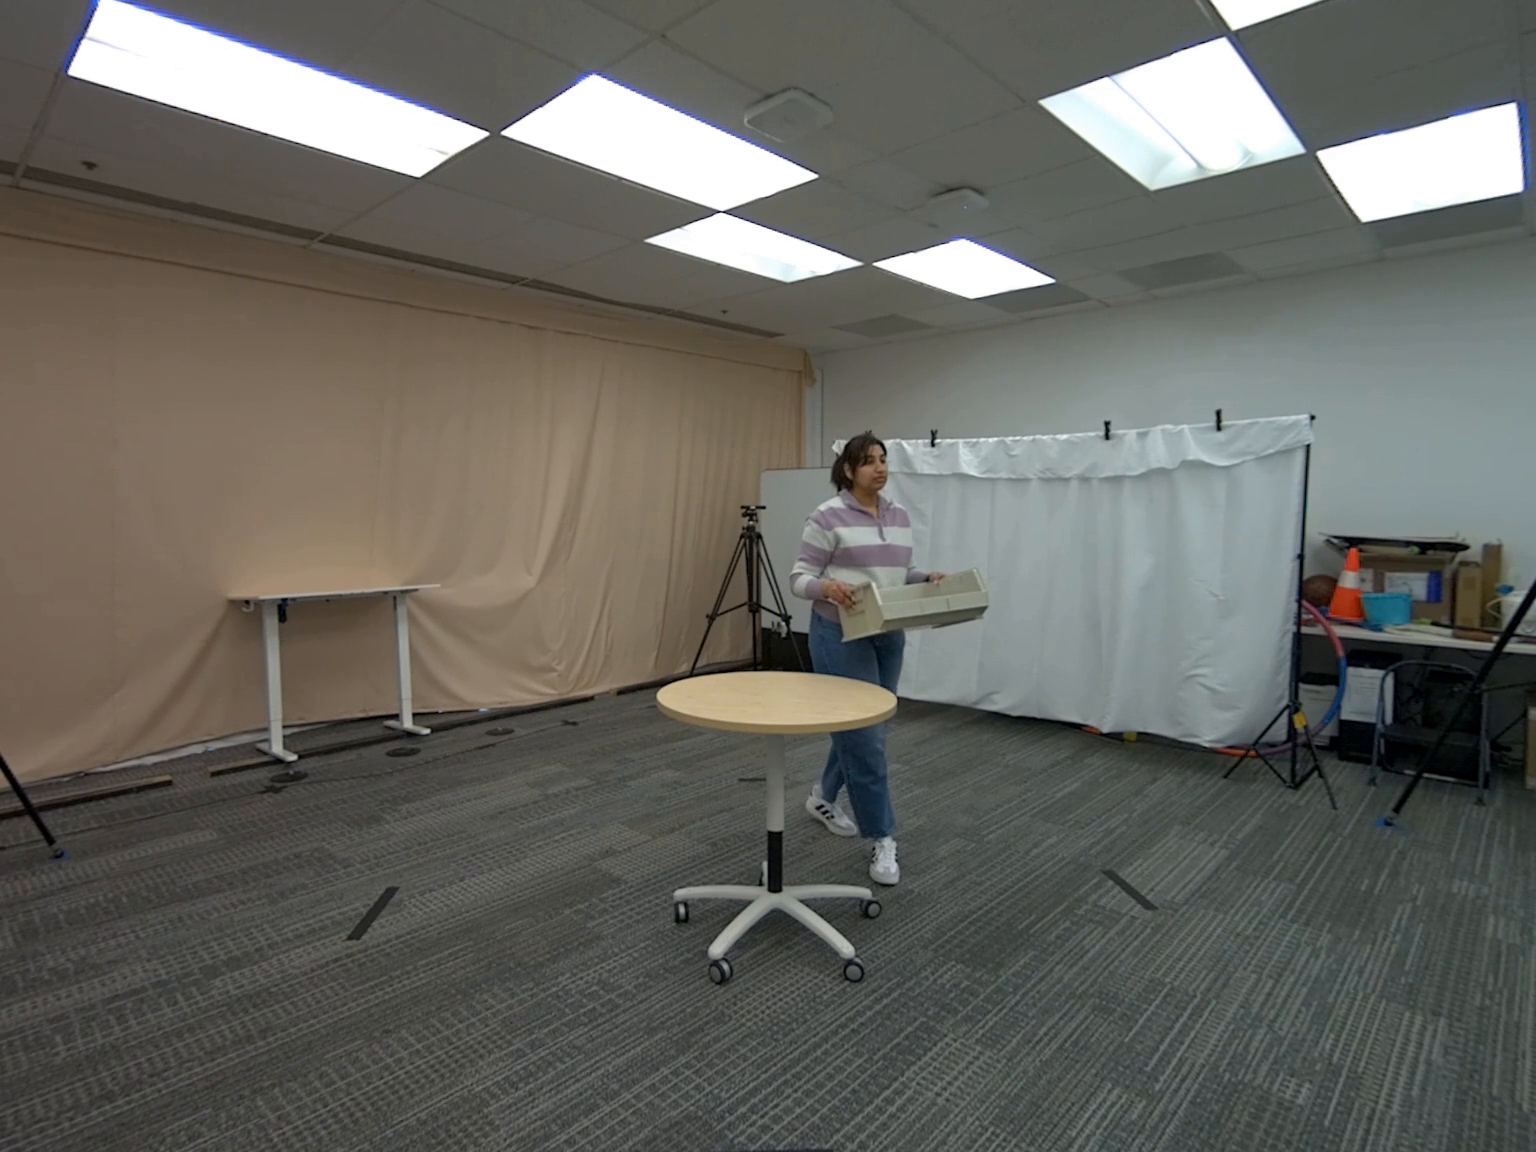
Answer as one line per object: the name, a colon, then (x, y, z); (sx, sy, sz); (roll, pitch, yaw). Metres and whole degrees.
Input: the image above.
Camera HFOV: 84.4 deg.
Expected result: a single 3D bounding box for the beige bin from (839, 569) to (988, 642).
beige bin: (0.504, 0.105, 3.014); (0.415, 0.190, 0.381); (-7, -8, -18)
